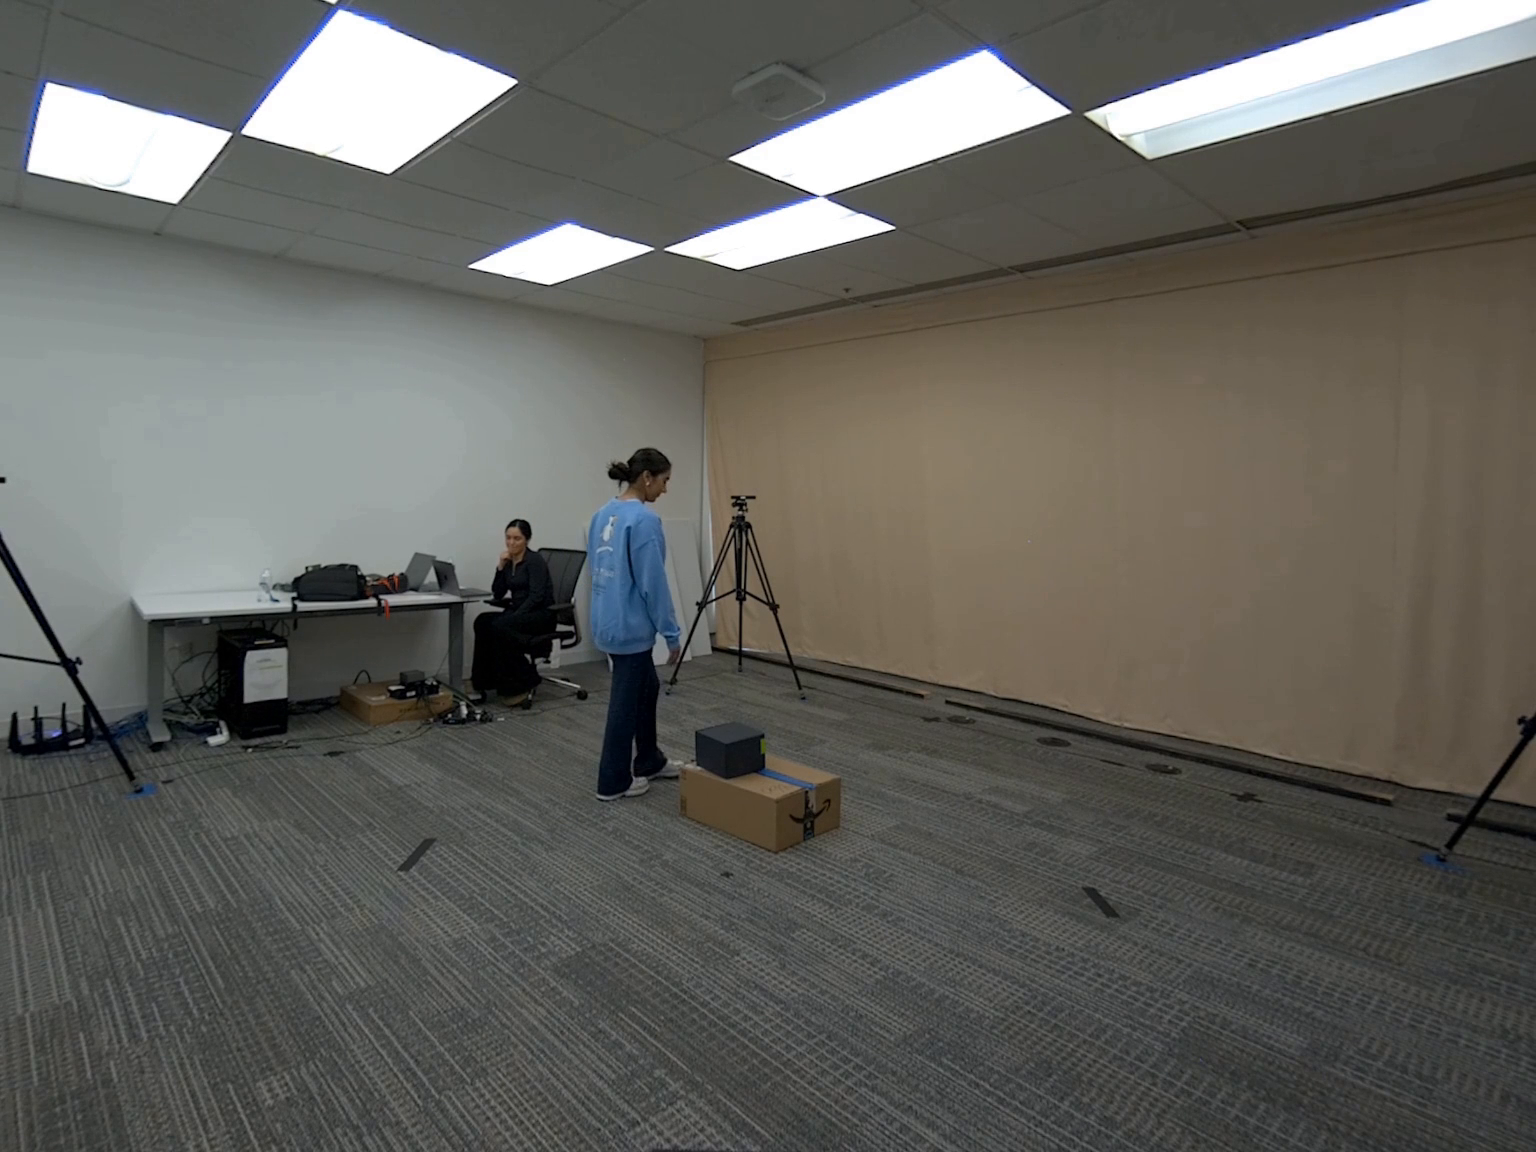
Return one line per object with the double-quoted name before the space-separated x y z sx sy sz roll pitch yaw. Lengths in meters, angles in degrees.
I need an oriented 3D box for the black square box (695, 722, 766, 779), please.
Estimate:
"black square box" -0.170 0.751 3.654 0.212 0.155 0.233 -5 8 -38
